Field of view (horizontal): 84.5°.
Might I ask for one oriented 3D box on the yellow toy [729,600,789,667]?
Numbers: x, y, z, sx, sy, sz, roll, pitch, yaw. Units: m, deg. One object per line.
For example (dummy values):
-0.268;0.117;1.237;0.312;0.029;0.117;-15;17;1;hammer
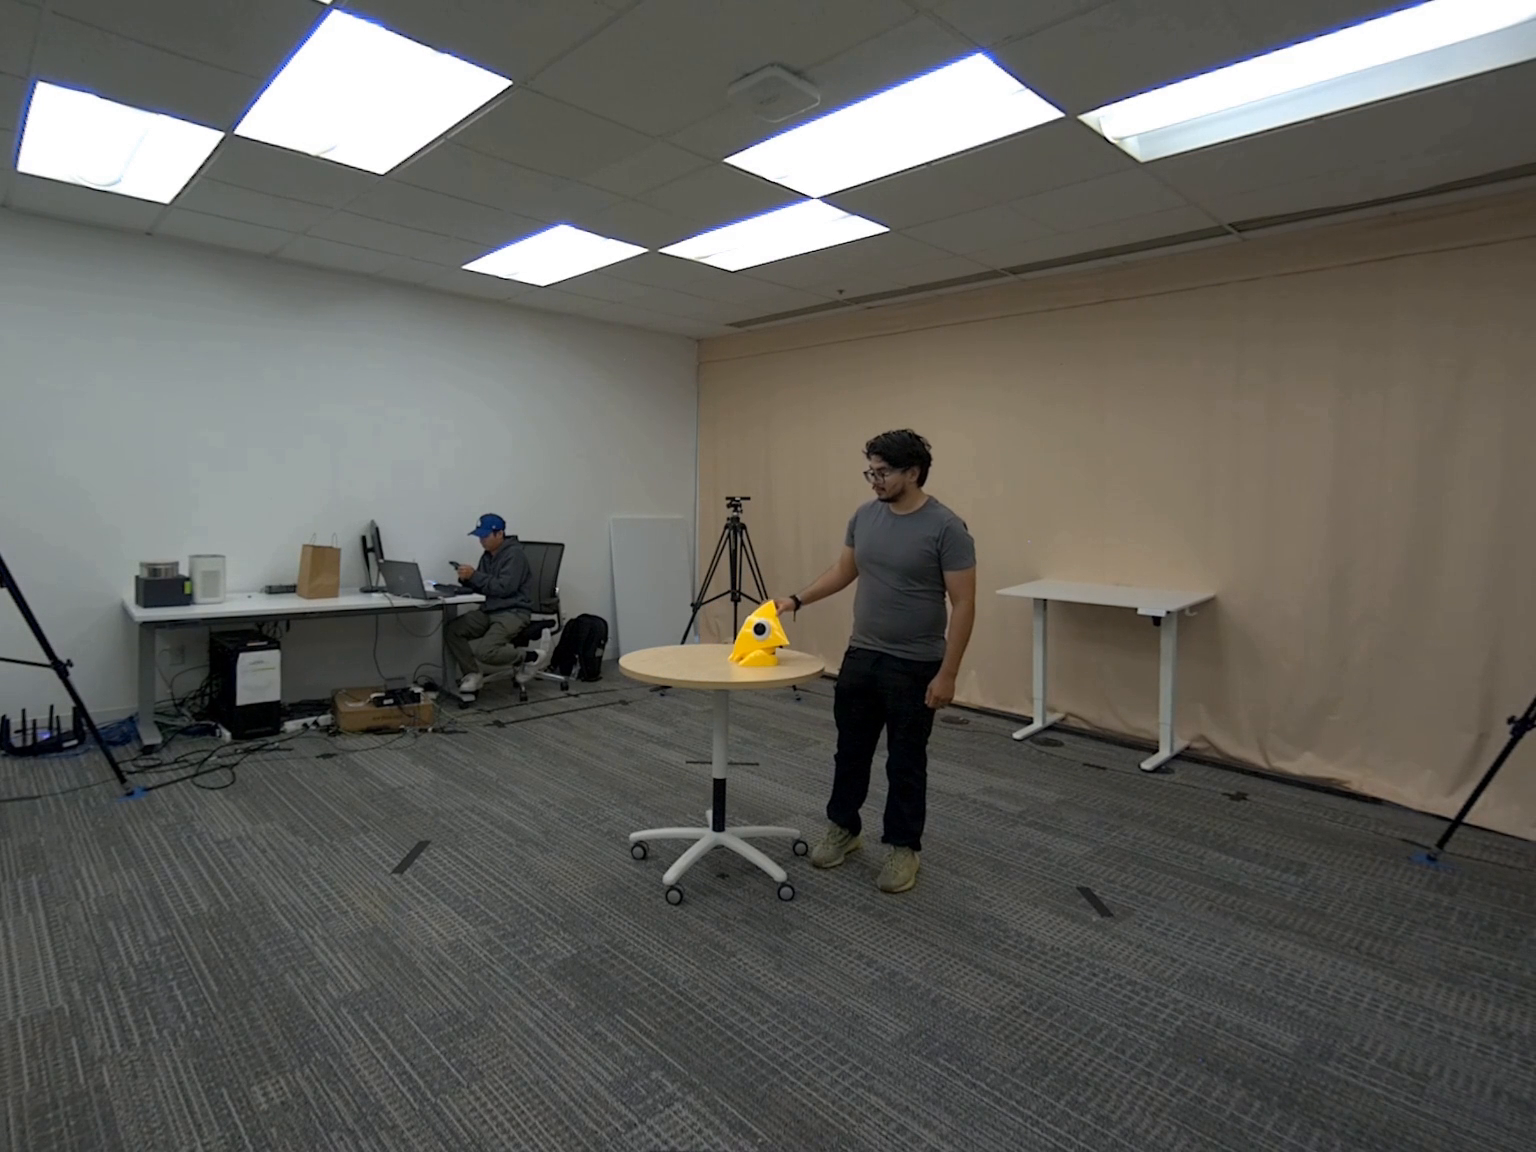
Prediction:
-0.048;0.204;3.136;0.190;0.230;0.208;-1;4;-20;yellow toy
